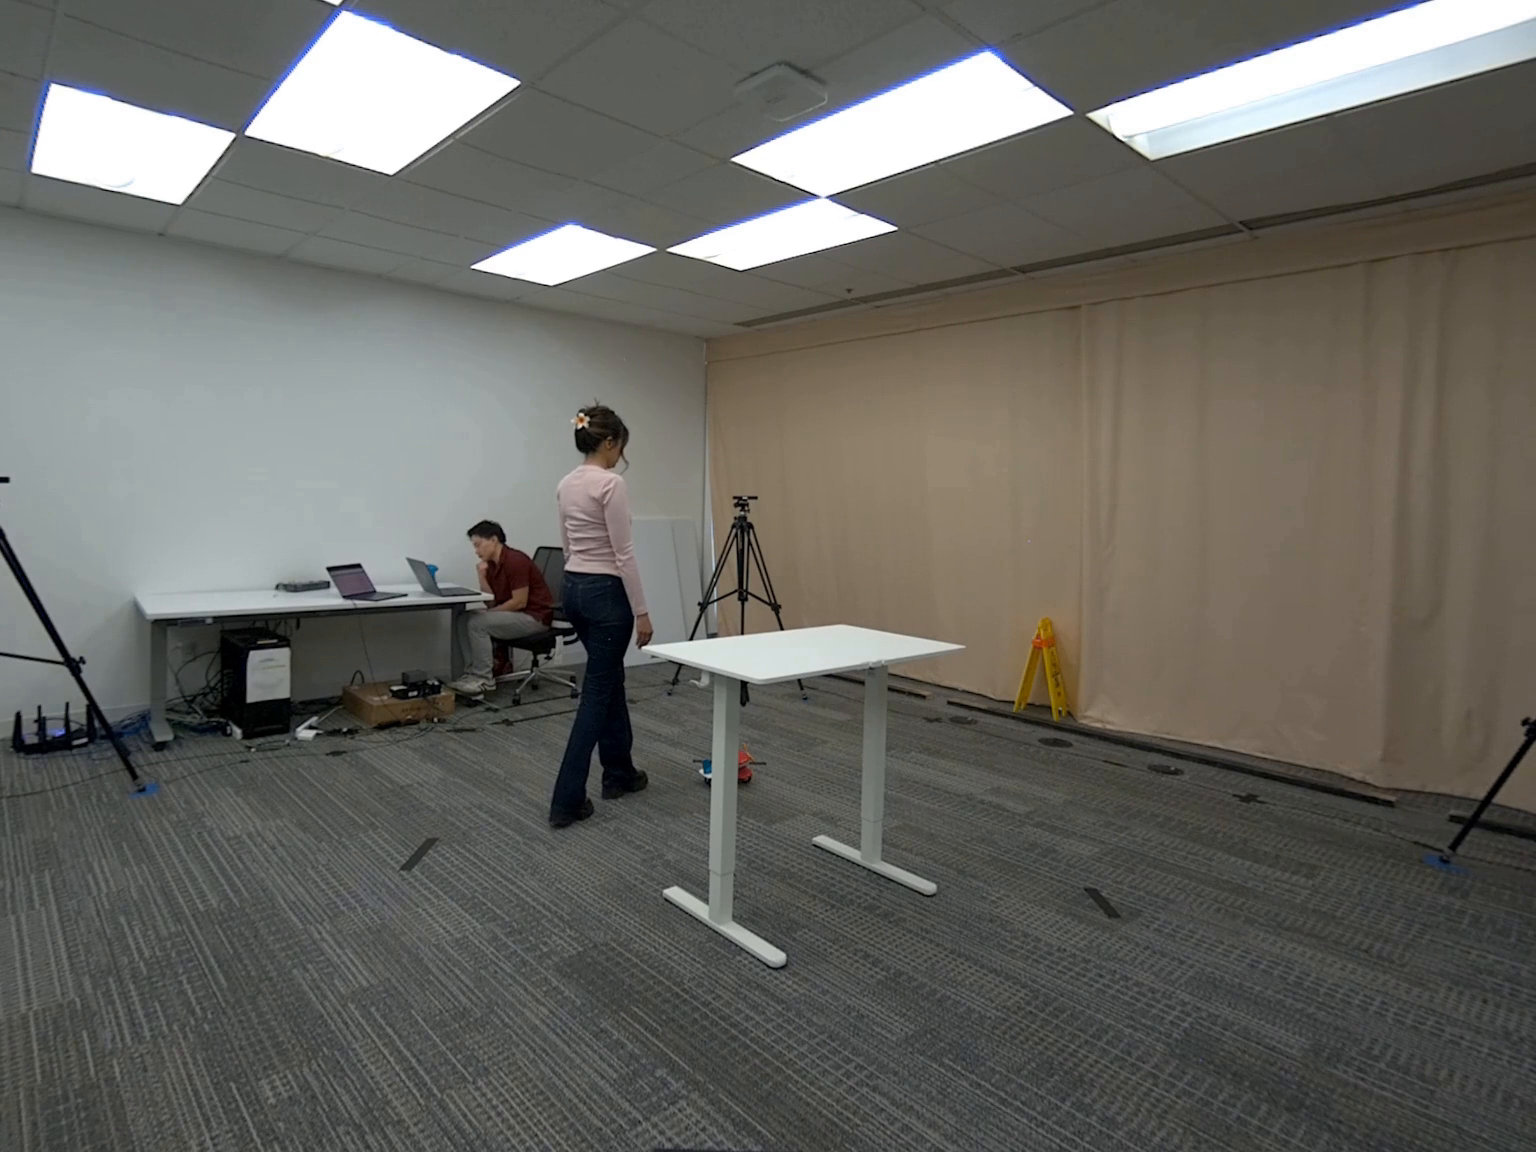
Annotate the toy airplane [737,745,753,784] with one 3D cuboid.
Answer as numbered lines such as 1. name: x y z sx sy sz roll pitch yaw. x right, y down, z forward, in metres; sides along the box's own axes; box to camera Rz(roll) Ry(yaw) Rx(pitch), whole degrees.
1. toy airplane: -0.203 0.940 4.123 0.257 0.156 0.254 5 4 31
